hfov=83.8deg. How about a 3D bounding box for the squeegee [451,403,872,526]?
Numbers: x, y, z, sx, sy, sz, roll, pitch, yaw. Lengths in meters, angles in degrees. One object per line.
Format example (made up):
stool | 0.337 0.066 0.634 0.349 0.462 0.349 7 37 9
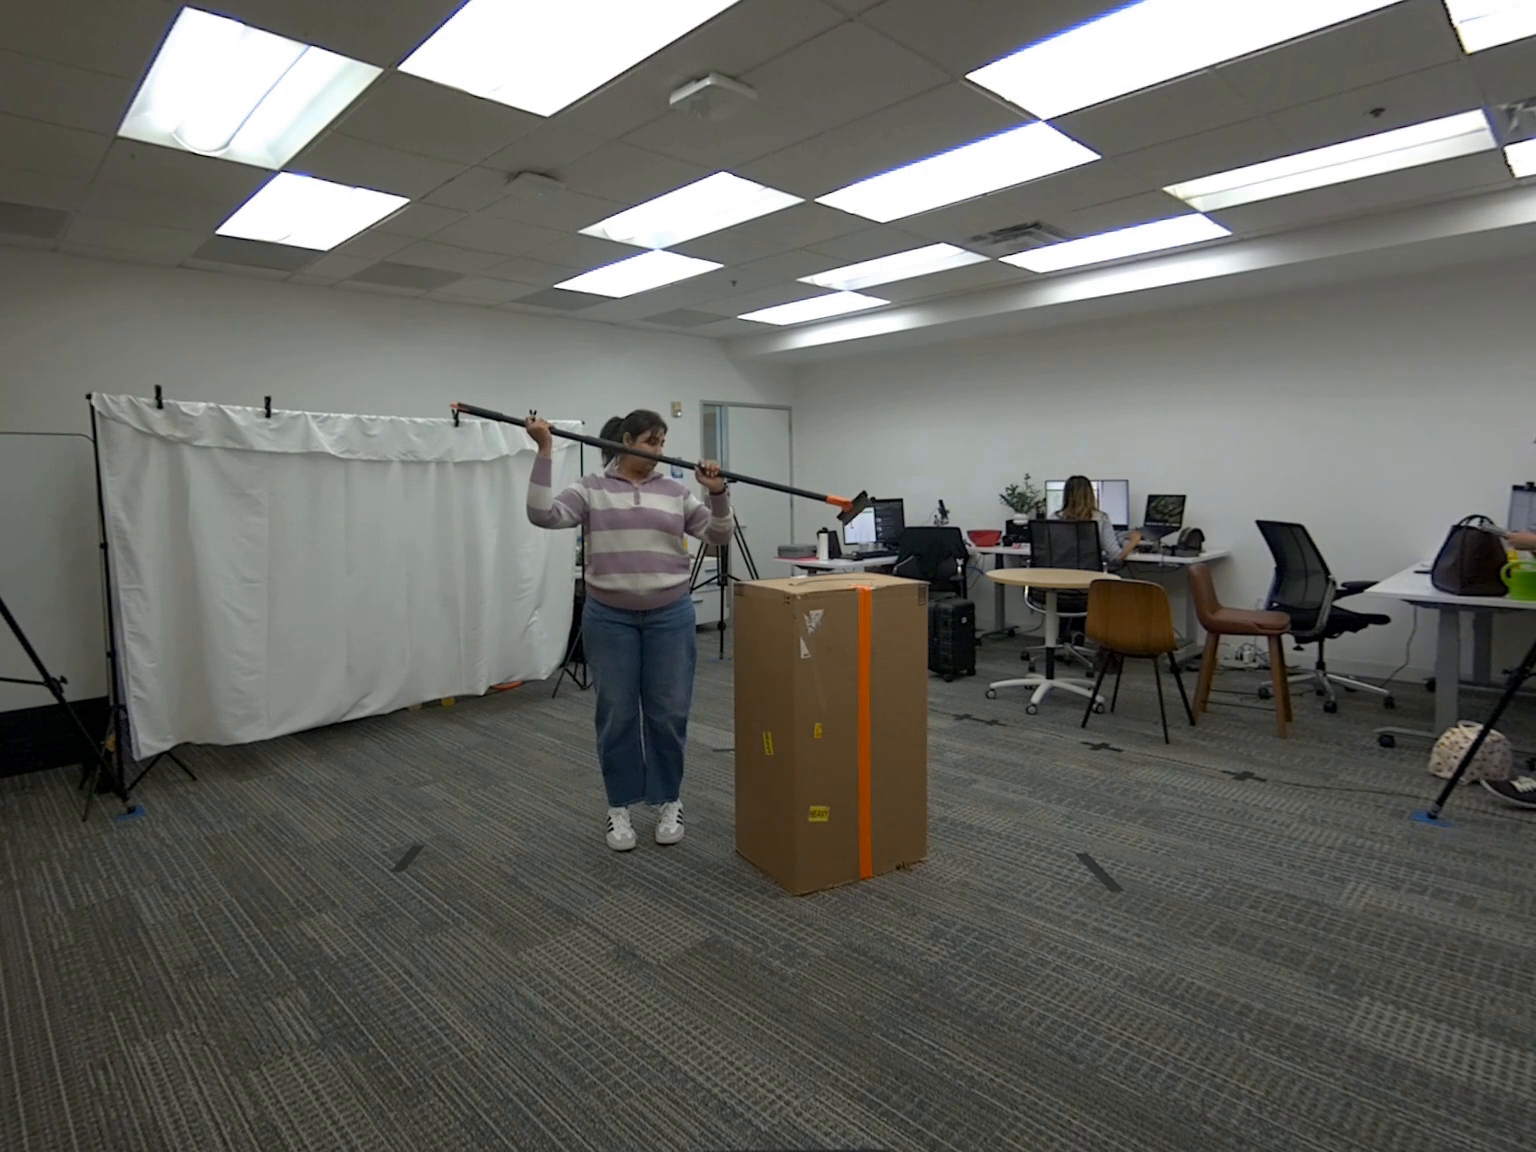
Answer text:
squeegee | -0.400 -0.436 3.127 1.534 0.053 0.435 15 -11 -2
